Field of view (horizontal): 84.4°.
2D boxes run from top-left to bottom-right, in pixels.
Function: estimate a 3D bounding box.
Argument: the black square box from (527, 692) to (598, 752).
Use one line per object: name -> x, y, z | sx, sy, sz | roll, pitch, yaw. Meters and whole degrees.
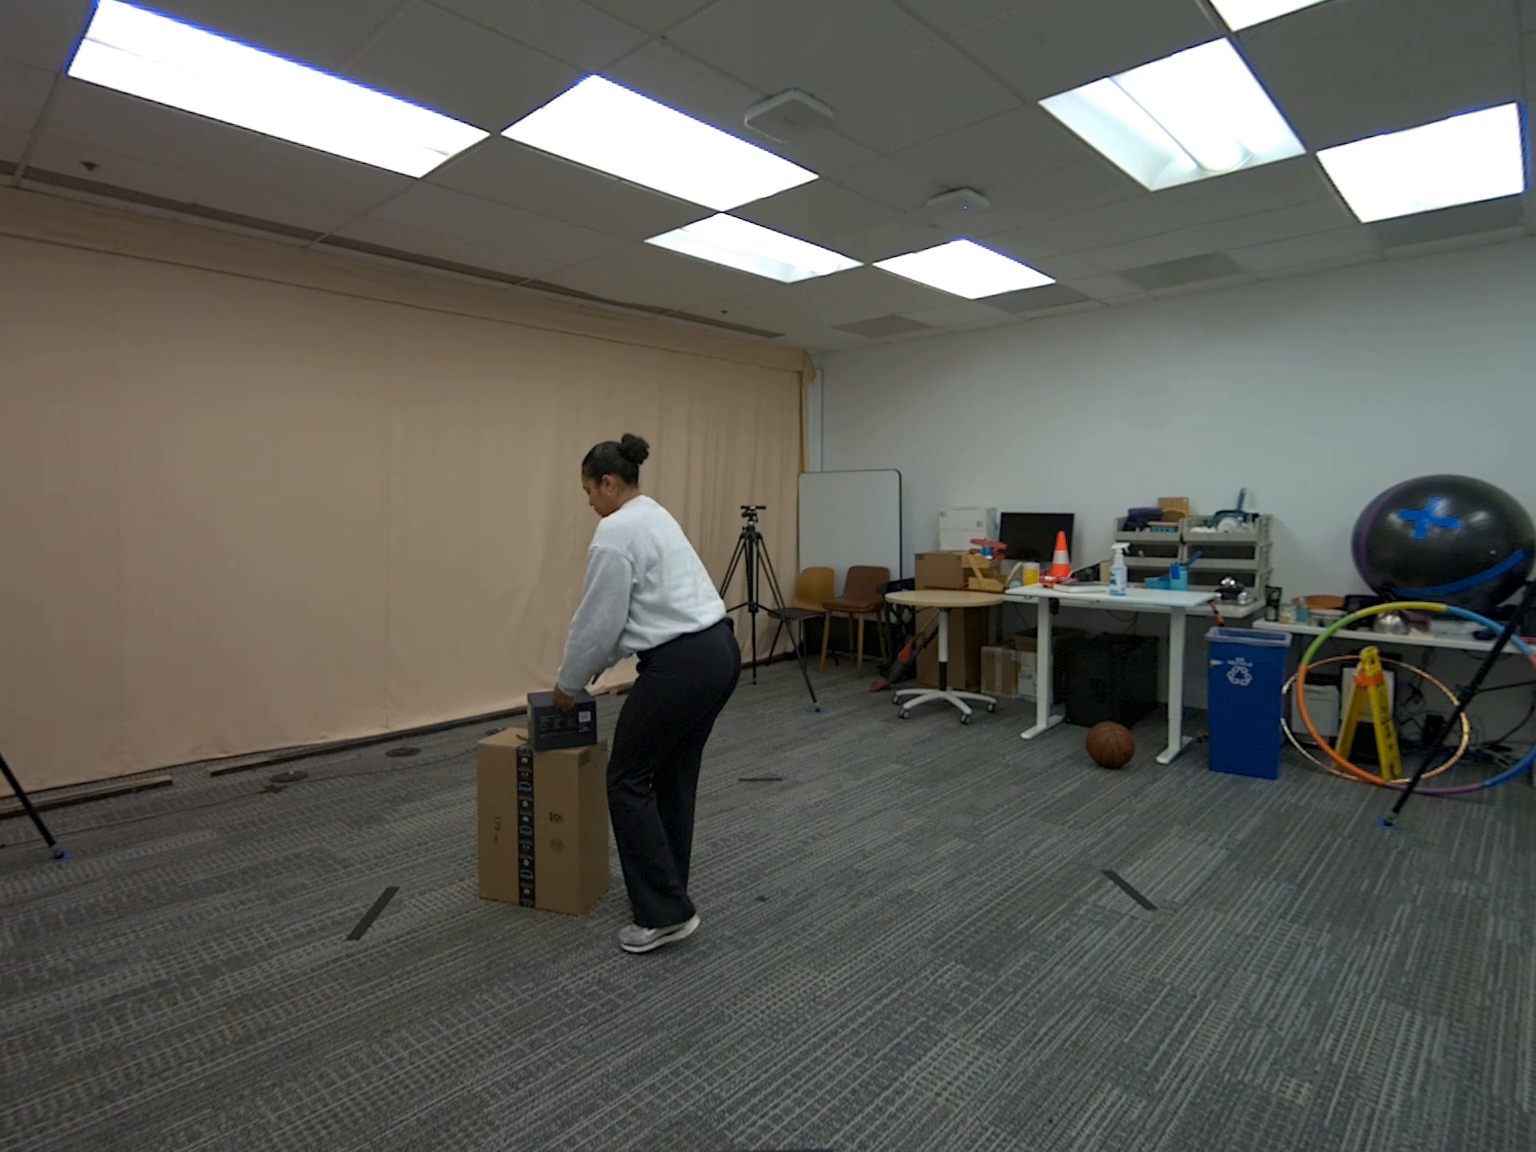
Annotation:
black square box -> -0.730, 0.502, 2.988 | 0.213, 0.155, 0.233 | -3, 5, -20
